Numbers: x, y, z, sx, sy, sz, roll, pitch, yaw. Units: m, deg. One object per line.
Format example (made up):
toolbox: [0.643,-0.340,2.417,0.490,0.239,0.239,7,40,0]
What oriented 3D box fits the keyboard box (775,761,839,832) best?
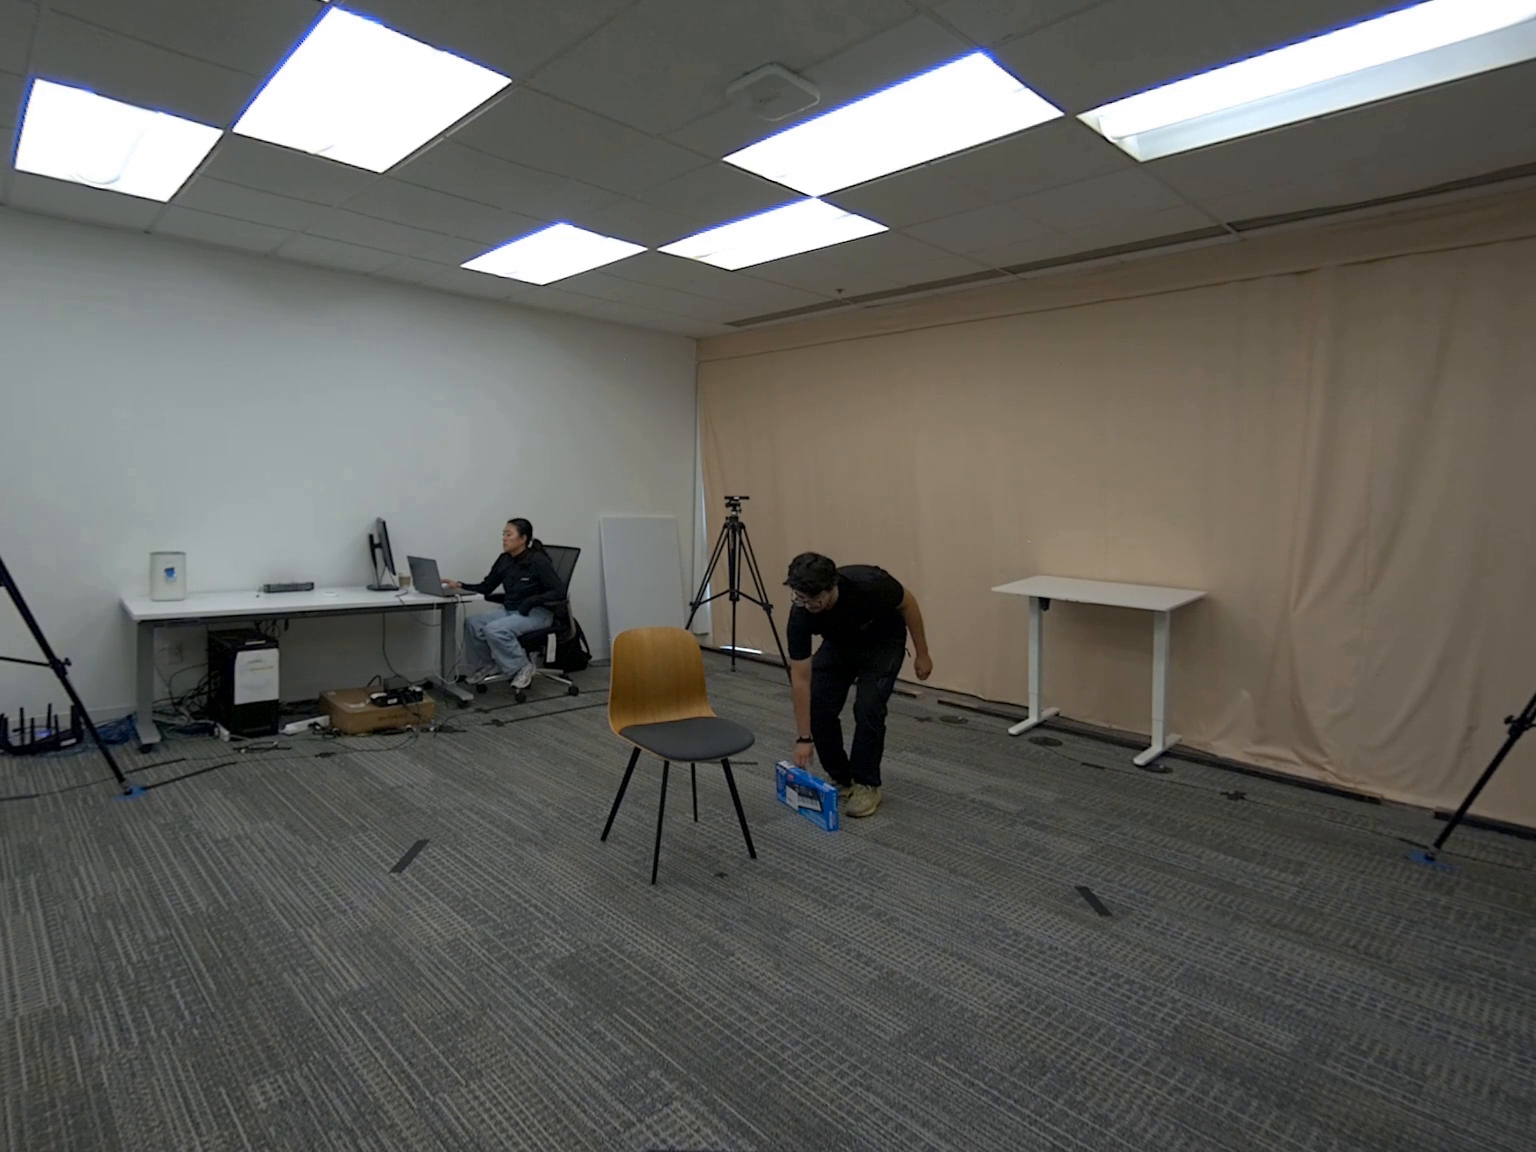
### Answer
keyboard box: [0.159,0.973,3.744,0.058,0.175,0.446,-4,7,-28]
